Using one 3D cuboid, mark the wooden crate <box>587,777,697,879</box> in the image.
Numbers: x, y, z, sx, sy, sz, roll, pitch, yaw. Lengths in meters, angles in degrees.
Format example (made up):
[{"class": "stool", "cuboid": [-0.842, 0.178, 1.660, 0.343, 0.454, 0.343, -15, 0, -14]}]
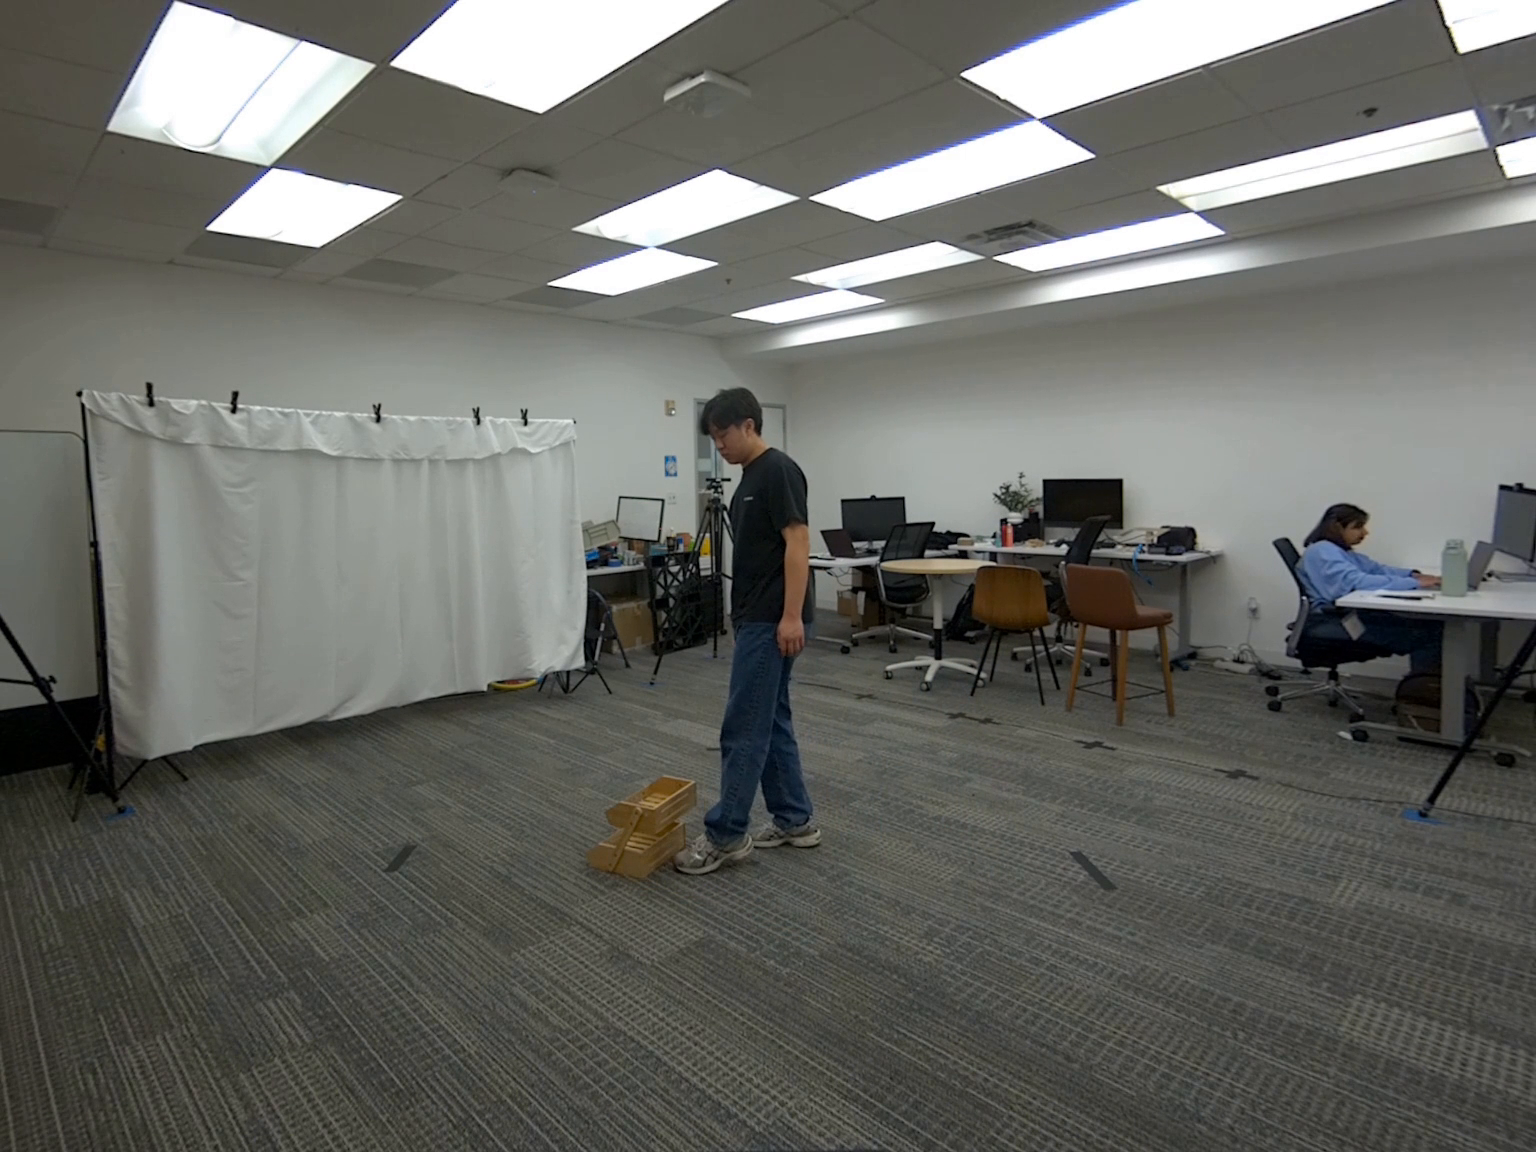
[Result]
[{"class": "wooden crate", "cuboid": [-0.463, 0.909, 3.160, 0.309, 0.272, 0.318, 2, 6, 25]}]
